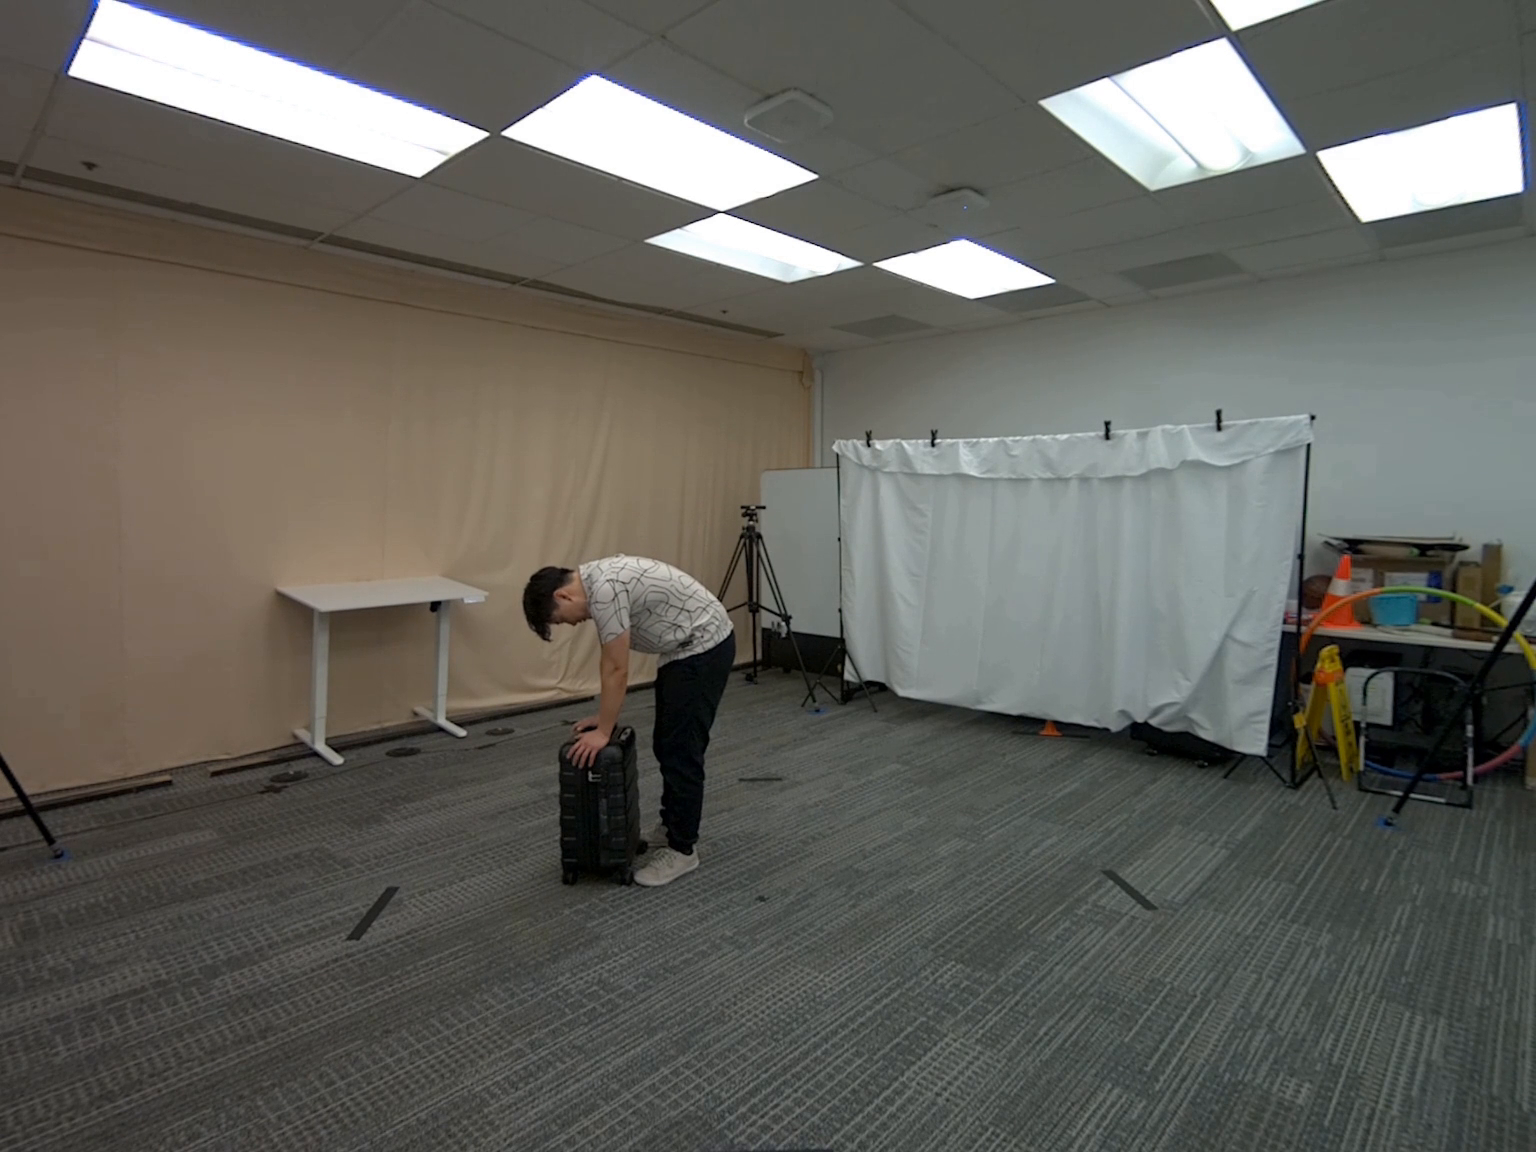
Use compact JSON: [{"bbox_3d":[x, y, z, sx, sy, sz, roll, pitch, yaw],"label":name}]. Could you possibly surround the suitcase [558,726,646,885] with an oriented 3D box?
[{"bbox_3d":[-0.645,0.855,3.222,0.249,0.548,0.376,-2,4,0],"label":"suitcase"}]
